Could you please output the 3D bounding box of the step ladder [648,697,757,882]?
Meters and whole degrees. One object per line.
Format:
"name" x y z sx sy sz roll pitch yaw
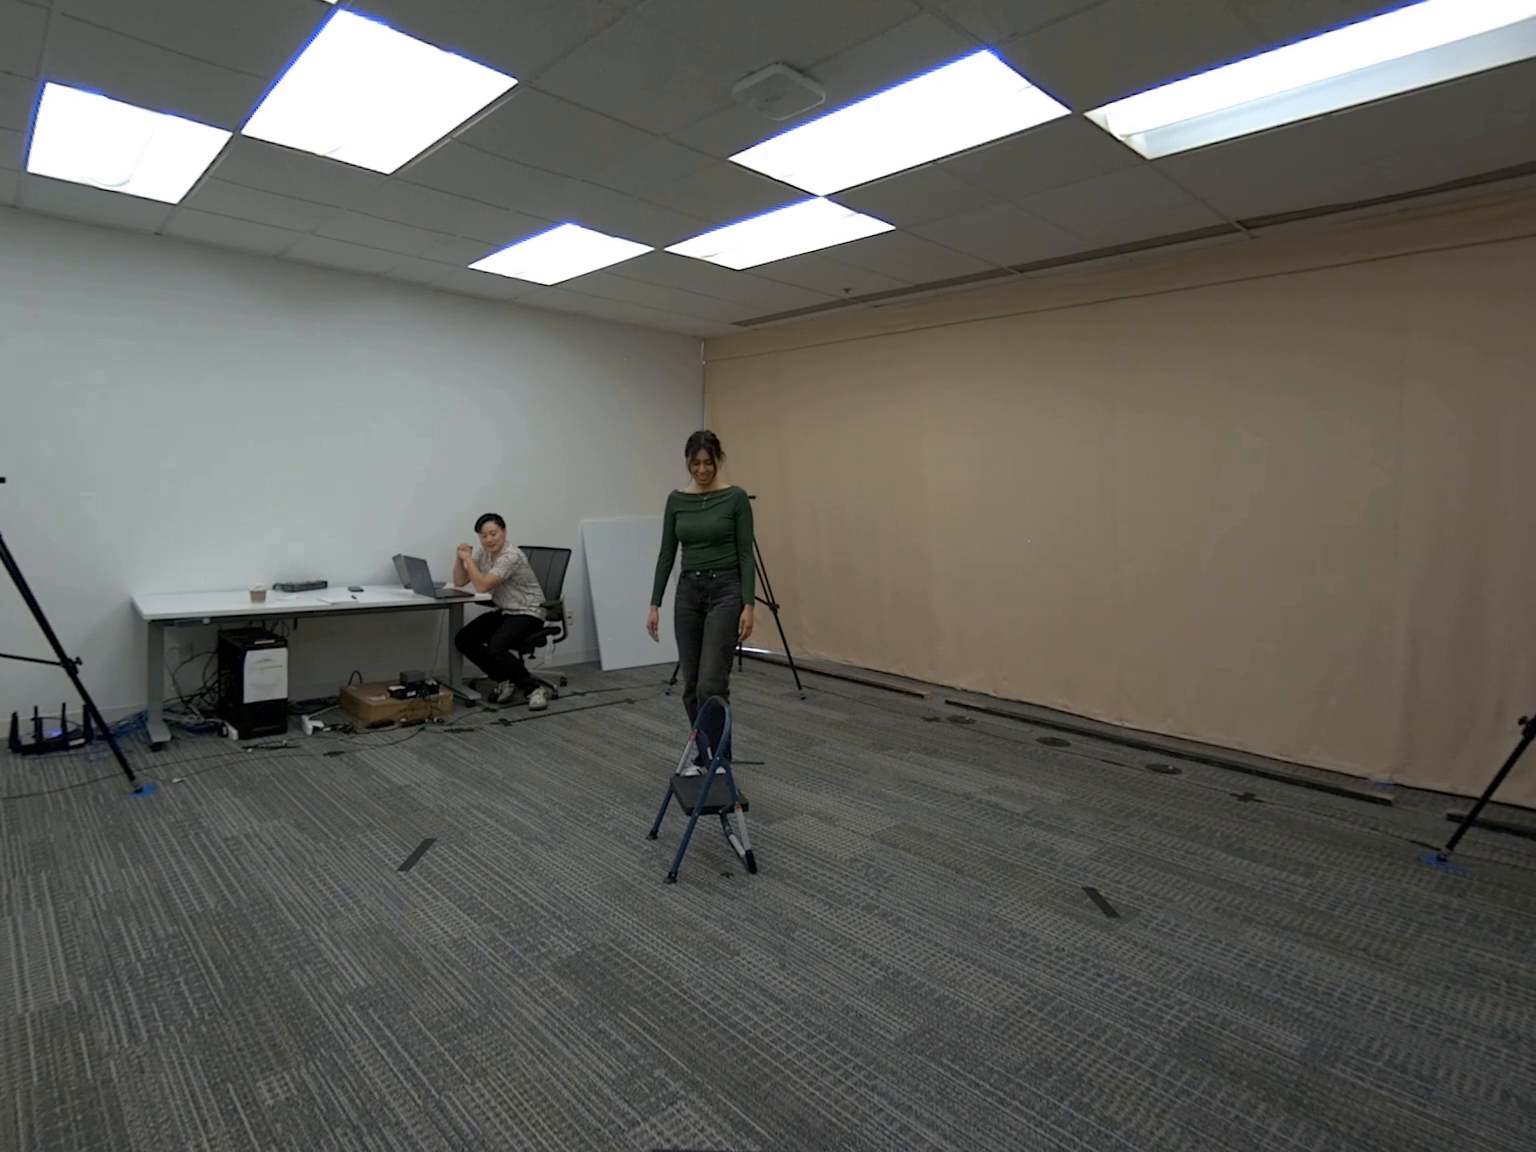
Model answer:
"step ladder" -0.265 0.784 3.247 0.345 0.604 0.437 1 4 -17
